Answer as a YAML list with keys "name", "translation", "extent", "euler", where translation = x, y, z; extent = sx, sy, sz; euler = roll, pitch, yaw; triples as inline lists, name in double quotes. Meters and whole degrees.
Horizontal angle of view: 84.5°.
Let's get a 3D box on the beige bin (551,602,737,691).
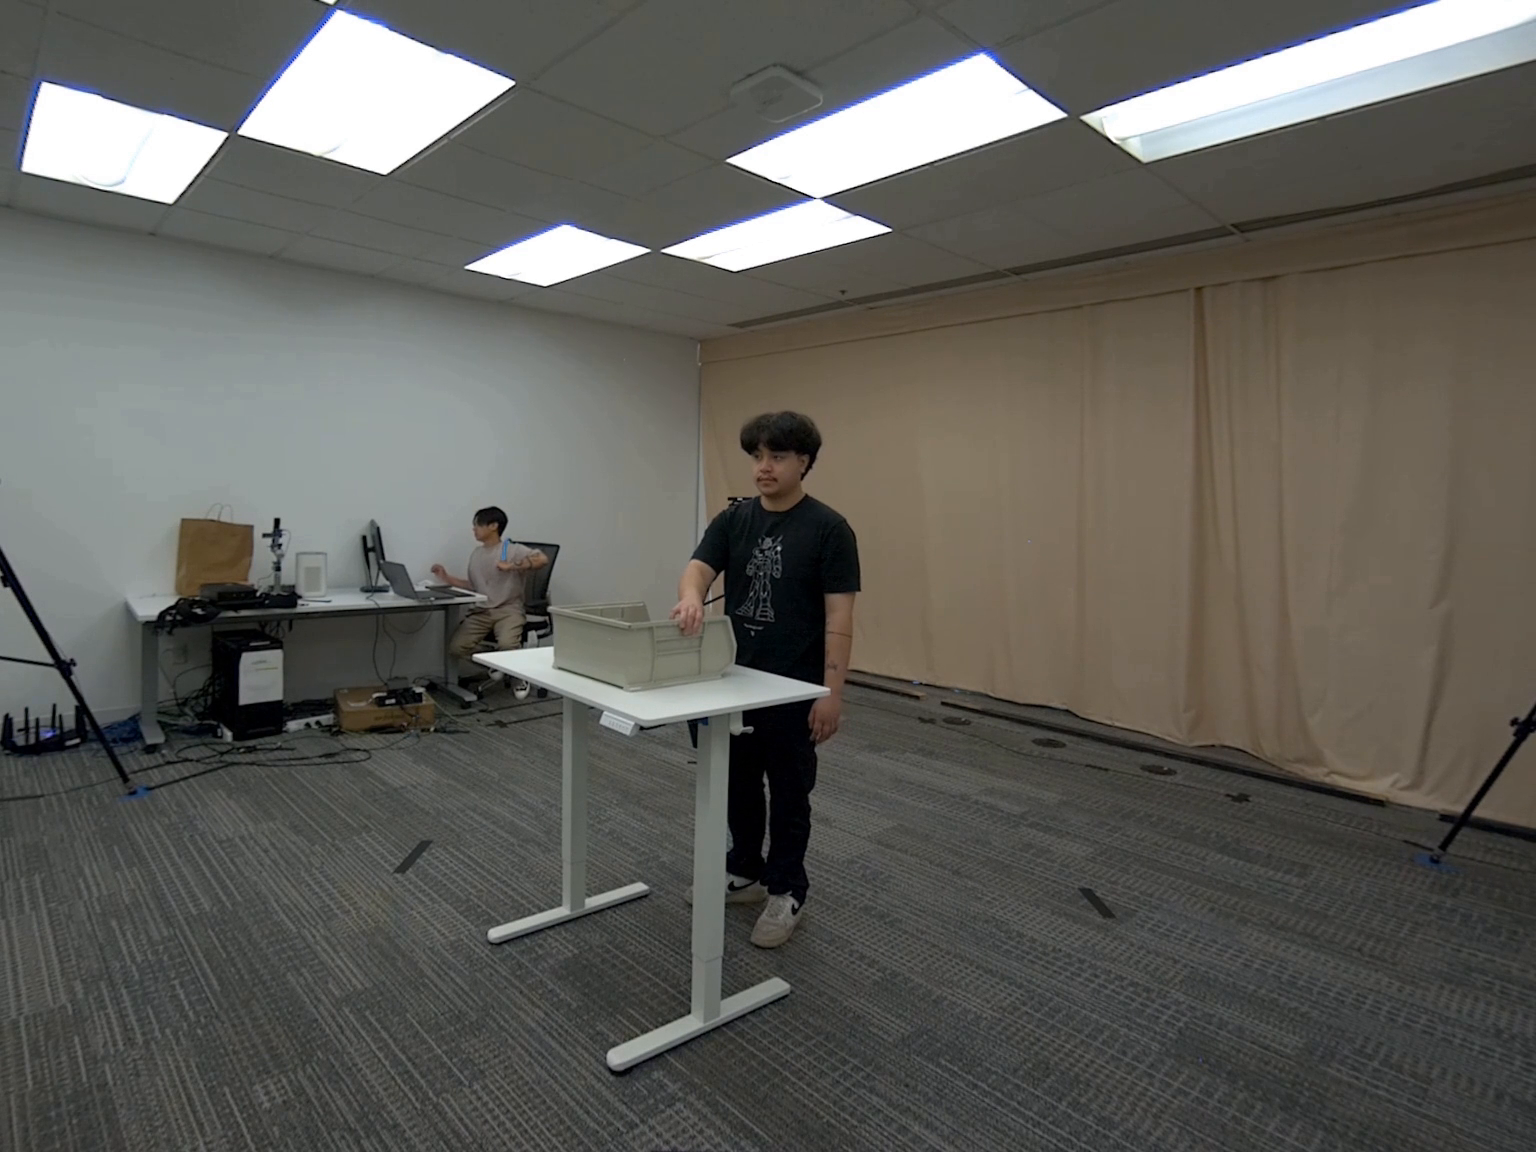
- name: "beige bin"
  translation: [-0.376, 0.196, 2.435]
  extent: [0.369, 0.188, 0.433]
  euler: [-4, 7, -41]
